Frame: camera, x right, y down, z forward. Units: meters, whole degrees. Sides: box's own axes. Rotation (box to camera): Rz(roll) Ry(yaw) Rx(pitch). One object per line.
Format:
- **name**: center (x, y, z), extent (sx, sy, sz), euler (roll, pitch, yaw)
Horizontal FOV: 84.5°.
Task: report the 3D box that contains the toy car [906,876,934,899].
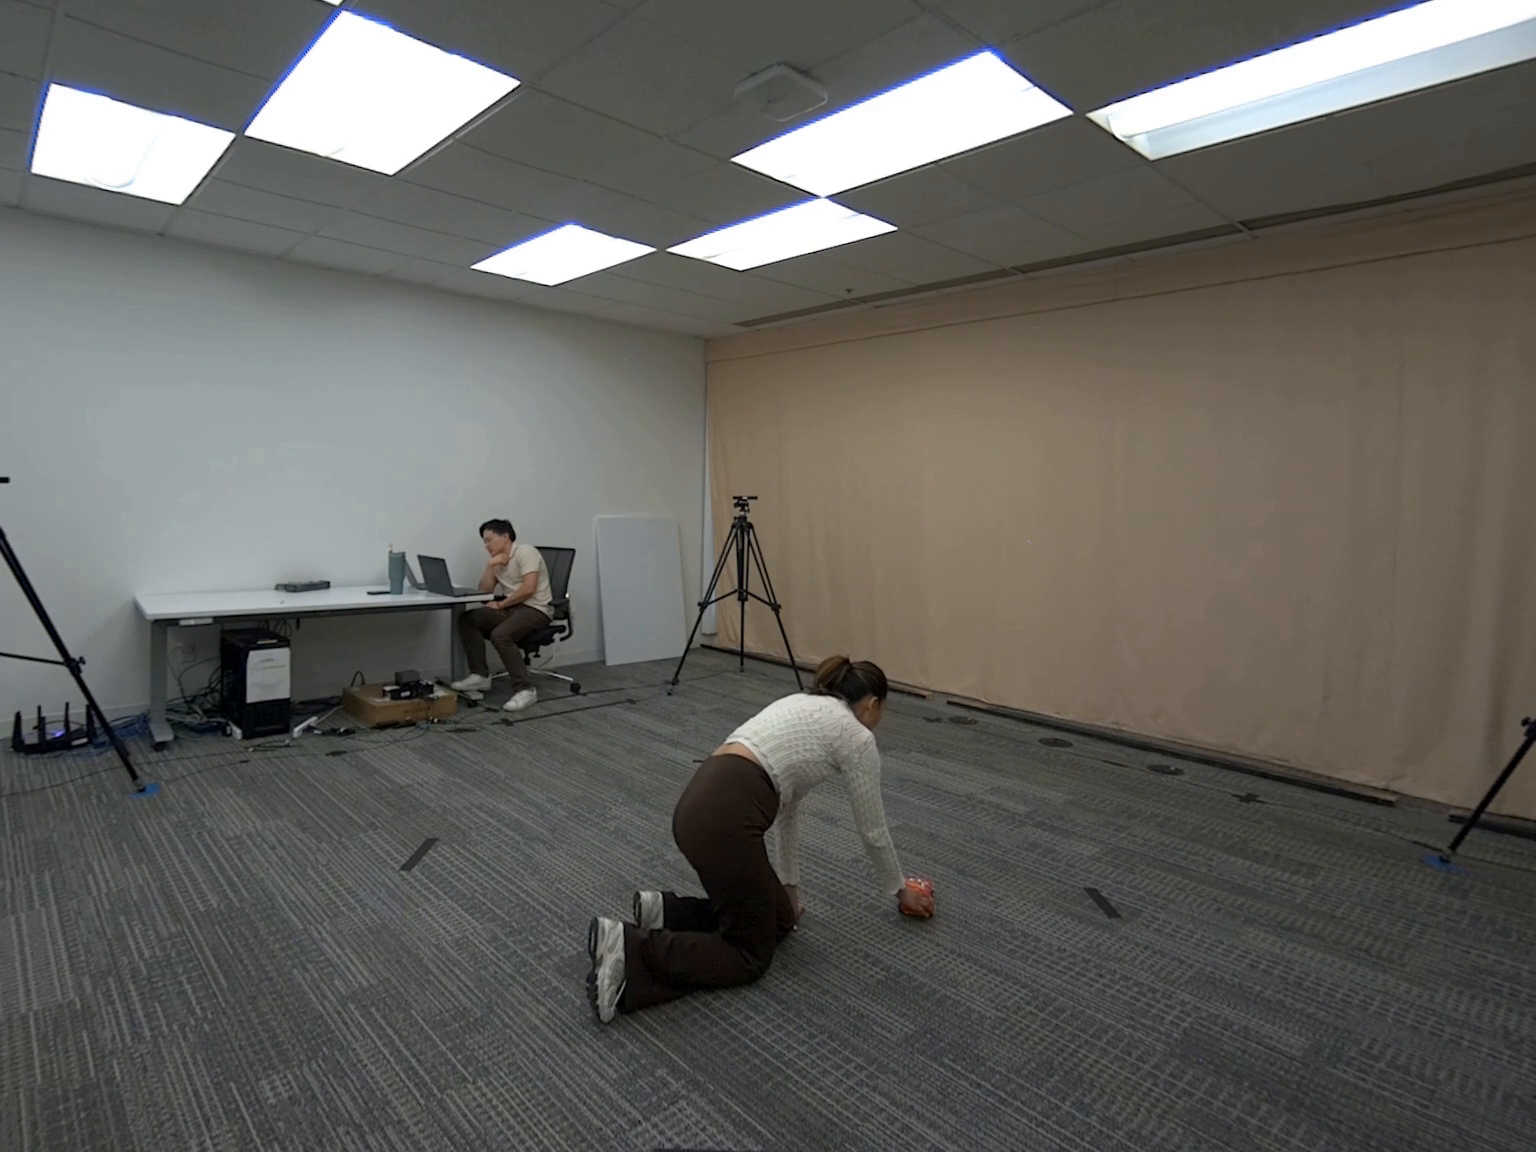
- **toy car**: center (0.507, 1.108, 2.889), extent (0.131, 0.083, 0.251), euler (3, -5, 9)
